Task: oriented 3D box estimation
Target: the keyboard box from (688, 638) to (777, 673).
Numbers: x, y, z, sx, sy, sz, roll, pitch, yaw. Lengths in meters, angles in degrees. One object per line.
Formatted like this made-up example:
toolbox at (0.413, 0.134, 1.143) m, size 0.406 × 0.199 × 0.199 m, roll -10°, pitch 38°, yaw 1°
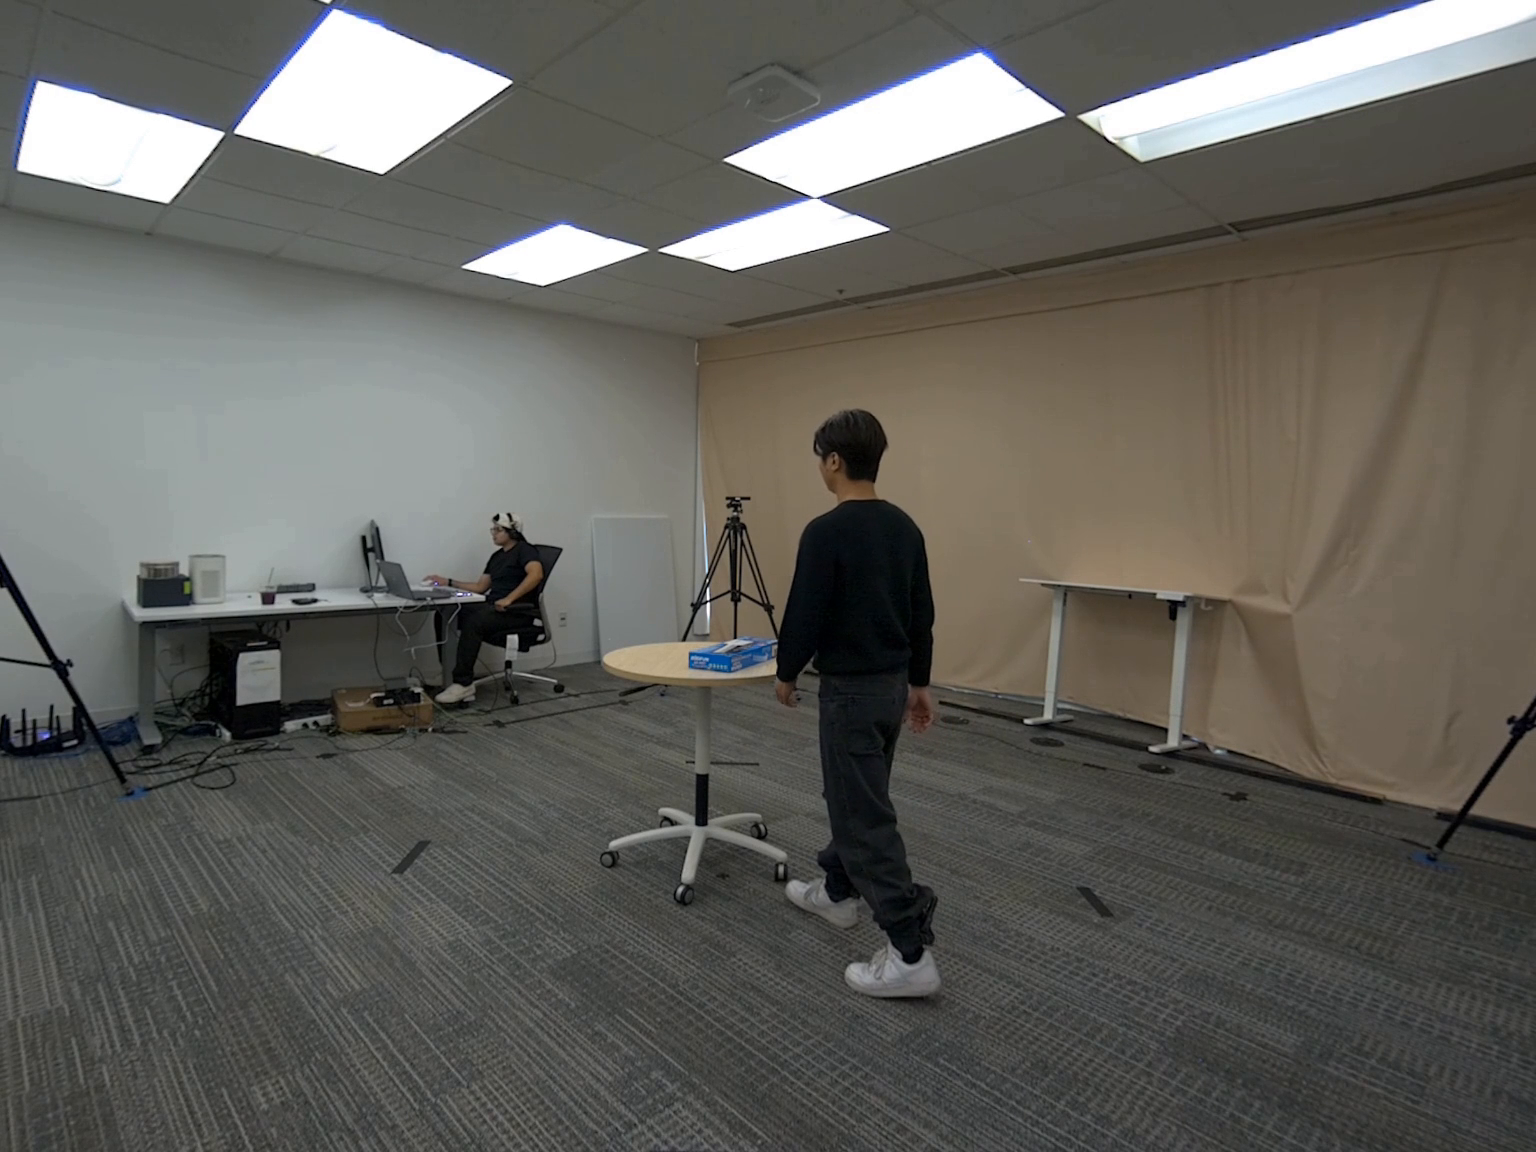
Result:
keyboard box at (-0.121, 0.288, 3.144) m, size 0.179 × 0.059 × 0.429 m, roll 3°, pitch 5°, yaw 26°
